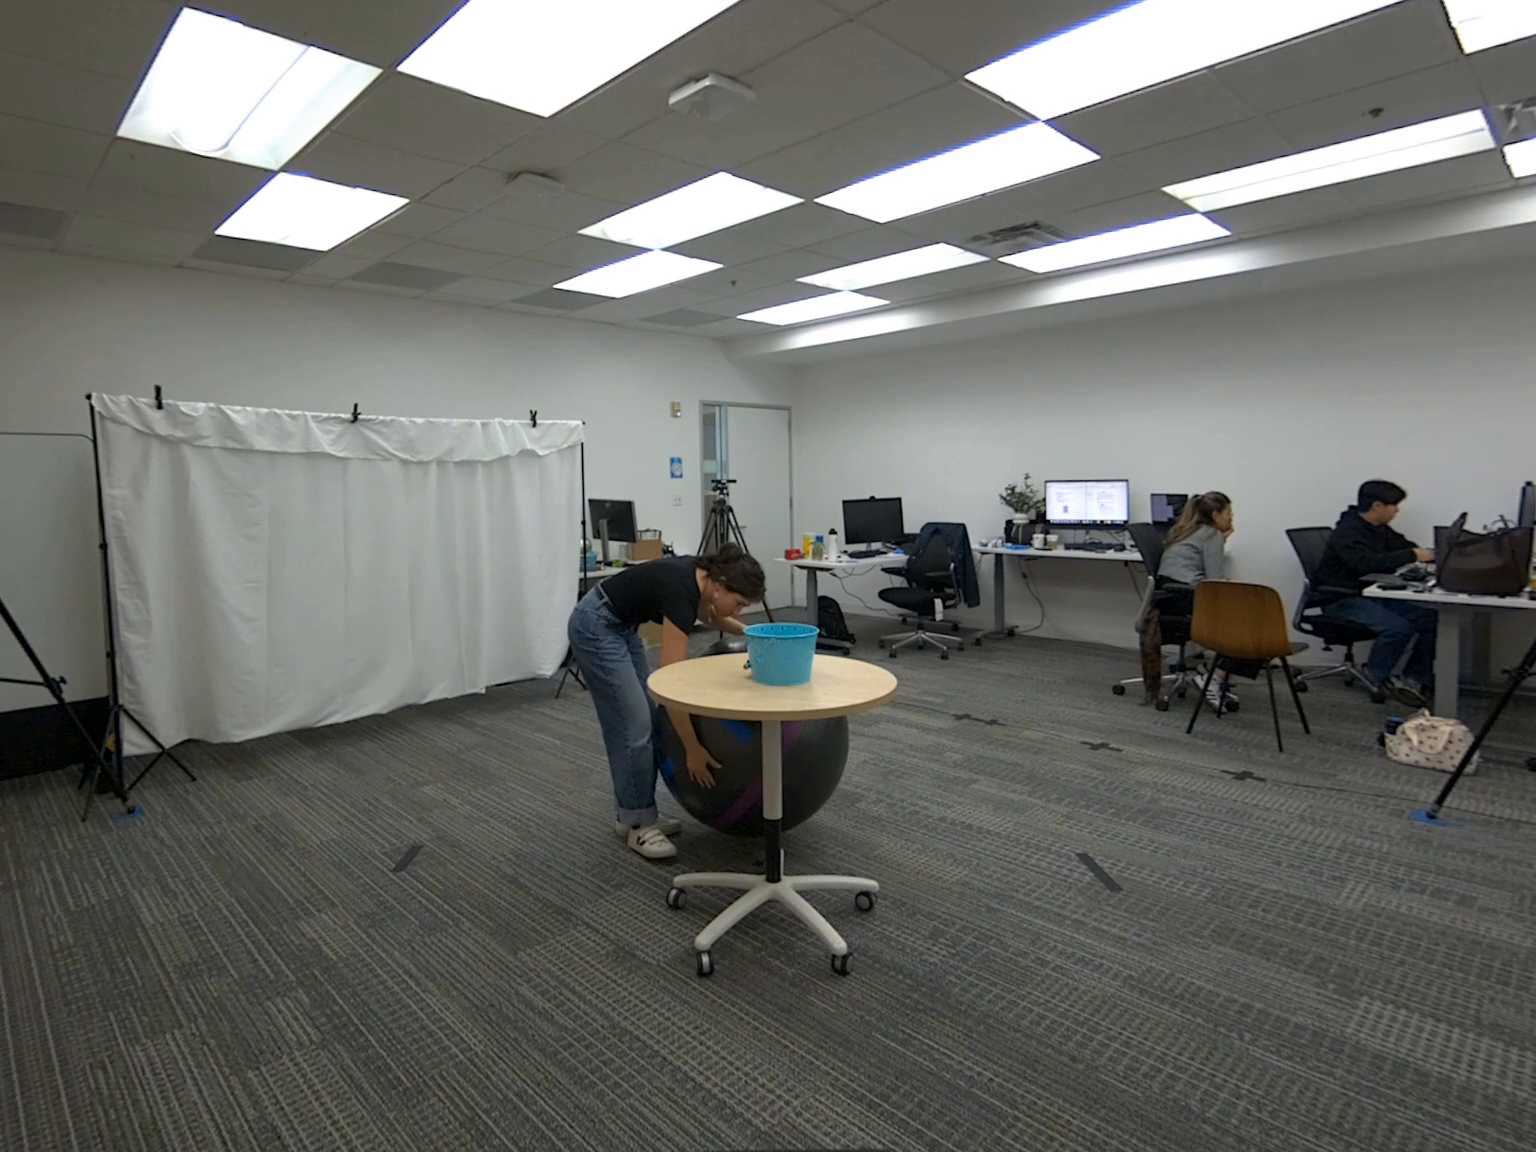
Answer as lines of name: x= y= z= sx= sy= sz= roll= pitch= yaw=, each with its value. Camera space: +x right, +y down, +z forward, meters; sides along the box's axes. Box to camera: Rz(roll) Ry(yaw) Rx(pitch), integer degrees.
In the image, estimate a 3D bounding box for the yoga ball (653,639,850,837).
yoga ball: x=-0.063 y=0.623 z=3.323 sx=0.757 sy=0.755 sz=0.762 roll=-1 pitch=5 yaw=-2
